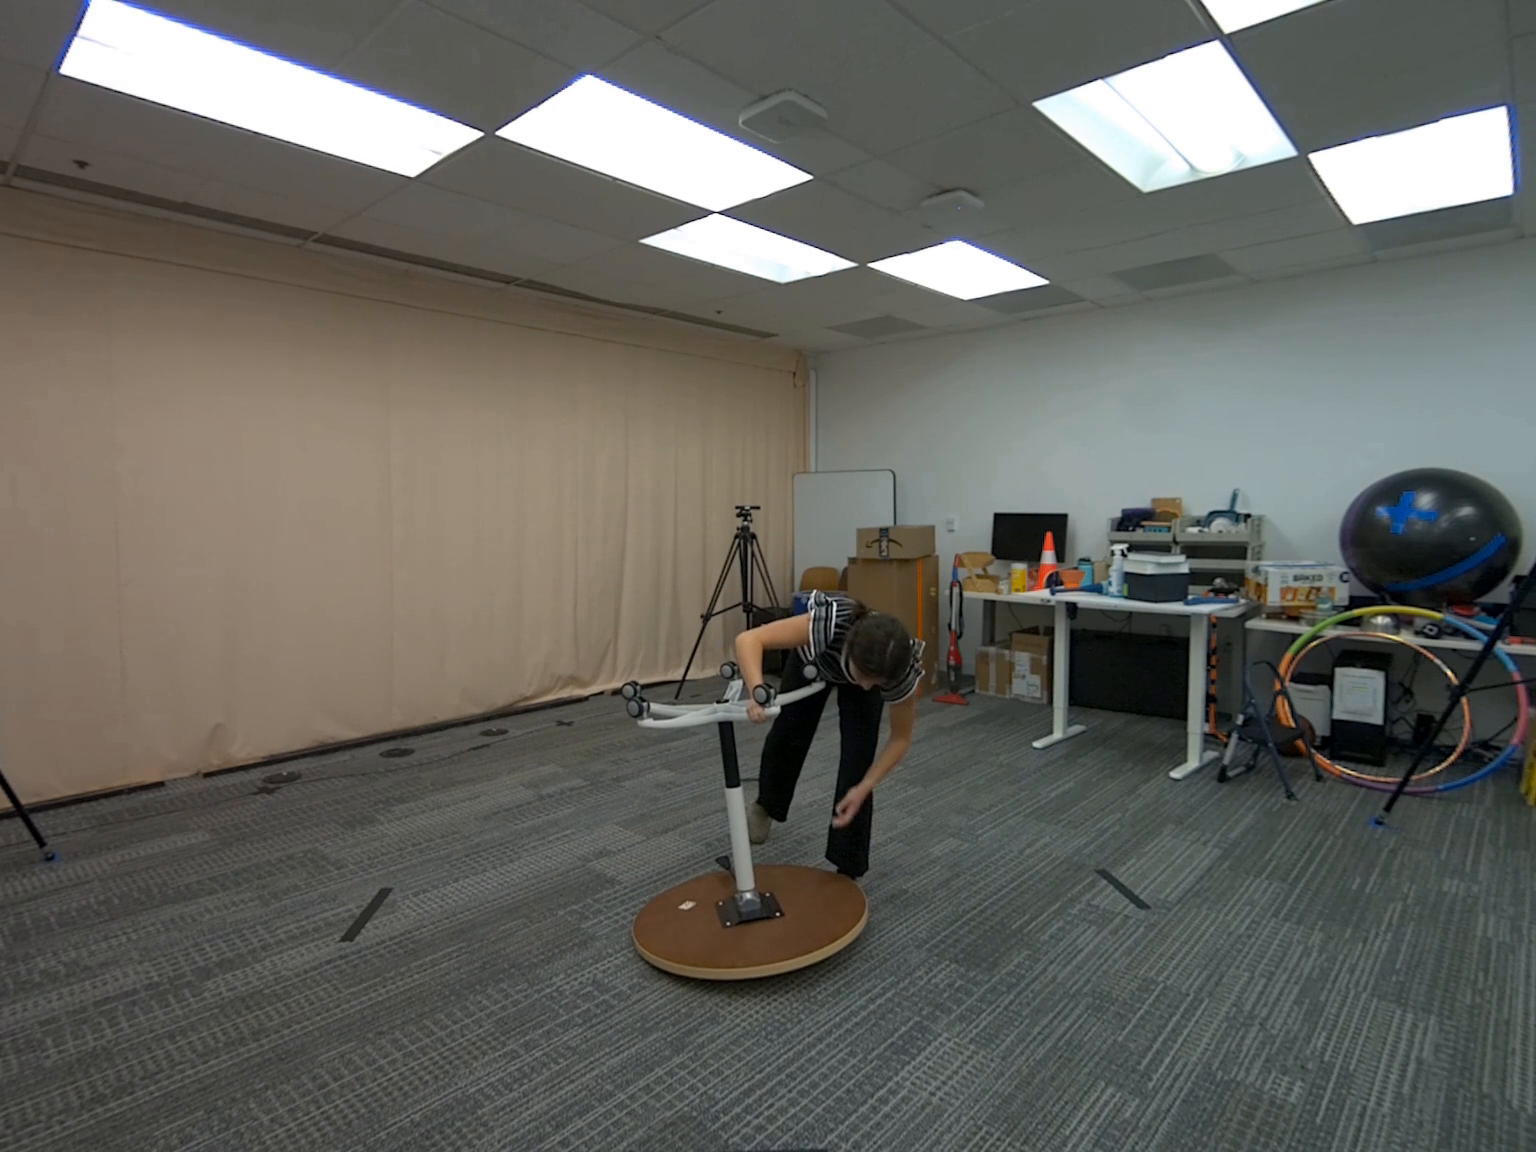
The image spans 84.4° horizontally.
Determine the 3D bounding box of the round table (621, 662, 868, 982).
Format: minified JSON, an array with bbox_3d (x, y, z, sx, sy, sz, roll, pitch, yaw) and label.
[{"bbox_3d":[-0.104,0.729,2.748,0.763,0.793,0.765,-7,1,-2],"label":"round table"}]
